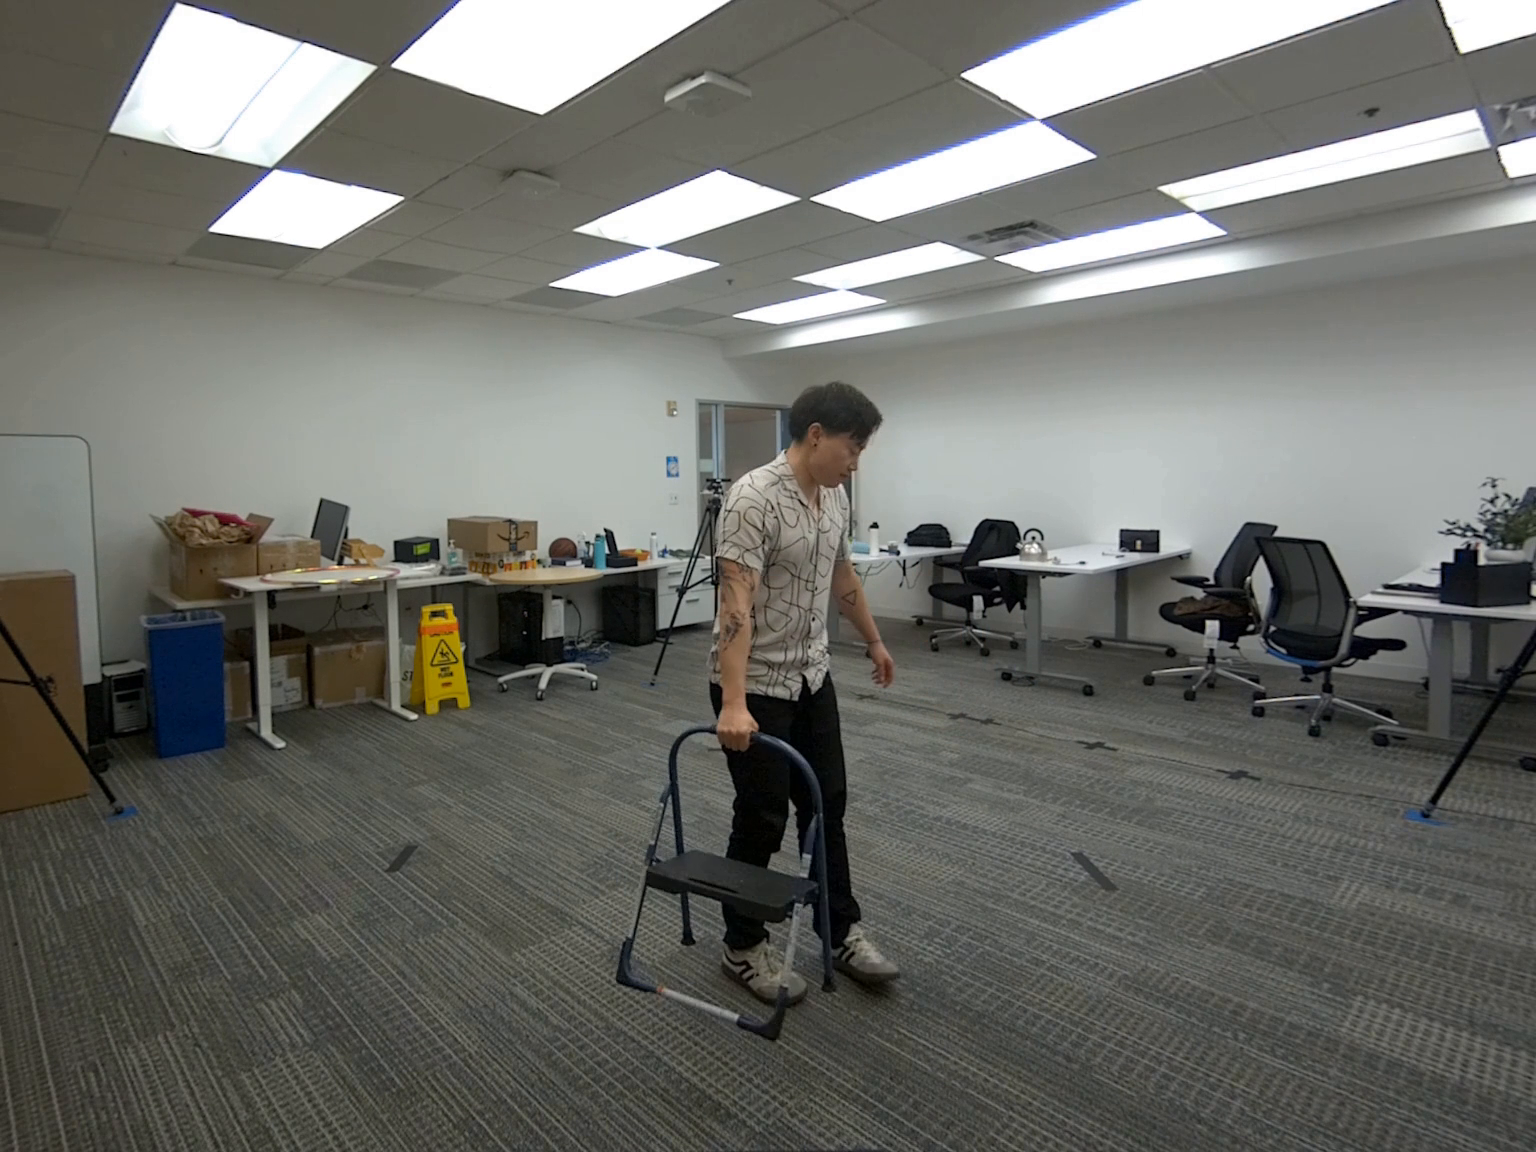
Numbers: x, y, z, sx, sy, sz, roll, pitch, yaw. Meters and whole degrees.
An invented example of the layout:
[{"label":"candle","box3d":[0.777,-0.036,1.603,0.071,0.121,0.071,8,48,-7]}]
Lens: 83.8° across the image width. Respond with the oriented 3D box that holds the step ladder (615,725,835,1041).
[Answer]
[{"label":"step ladder","box3d":[-0.067,0.668,2.041,0.441,0.609,0.339,2,-6,26]}]
